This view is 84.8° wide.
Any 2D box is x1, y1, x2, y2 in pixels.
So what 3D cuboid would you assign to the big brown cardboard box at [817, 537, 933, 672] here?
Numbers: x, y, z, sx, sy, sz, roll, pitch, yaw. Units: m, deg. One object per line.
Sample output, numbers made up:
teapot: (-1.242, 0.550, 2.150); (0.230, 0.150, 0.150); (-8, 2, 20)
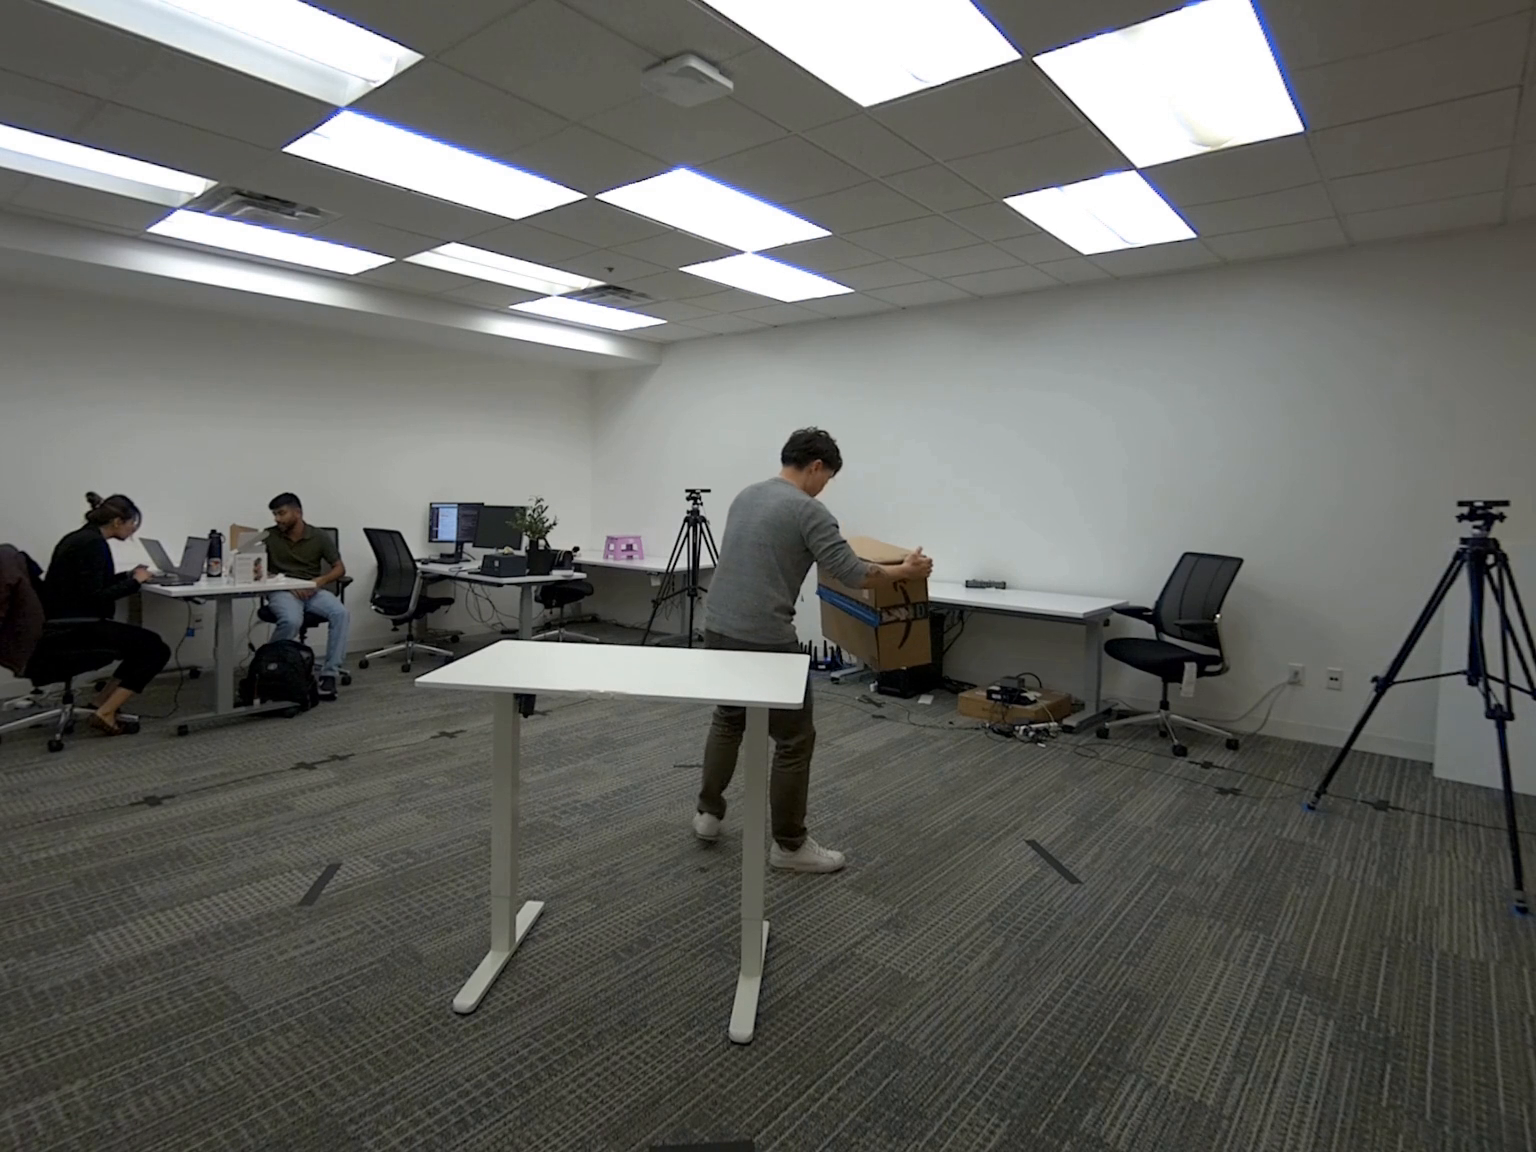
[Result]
big brown cardboard box: (0.398, 0.097, 3.396); (0.230, 0.413, 0.603); (-6, 11, -16)
